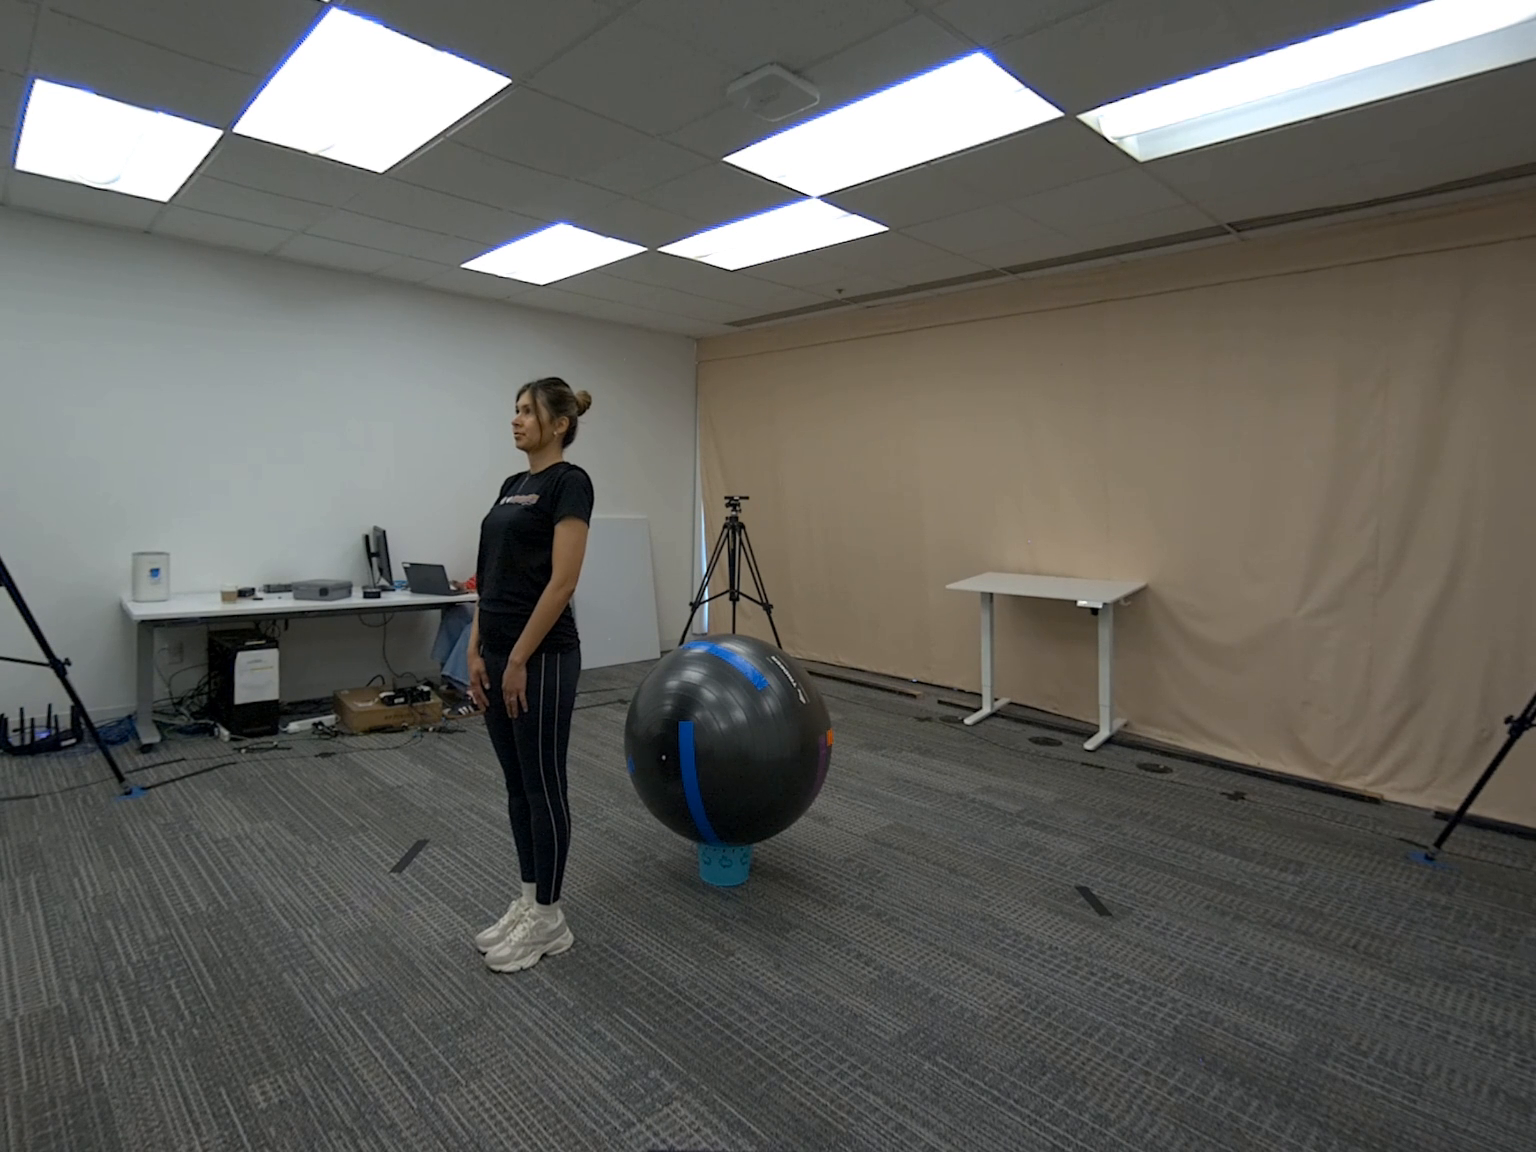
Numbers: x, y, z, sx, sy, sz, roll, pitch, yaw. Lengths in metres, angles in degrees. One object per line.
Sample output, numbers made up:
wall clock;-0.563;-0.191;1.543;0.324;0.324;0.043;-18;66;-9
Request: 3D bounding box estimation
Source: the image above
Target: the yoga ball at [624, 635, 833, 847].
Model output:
yoga ball;-0.150;0.594;3.077;0.757;0.756;0.761;1;4;-1
